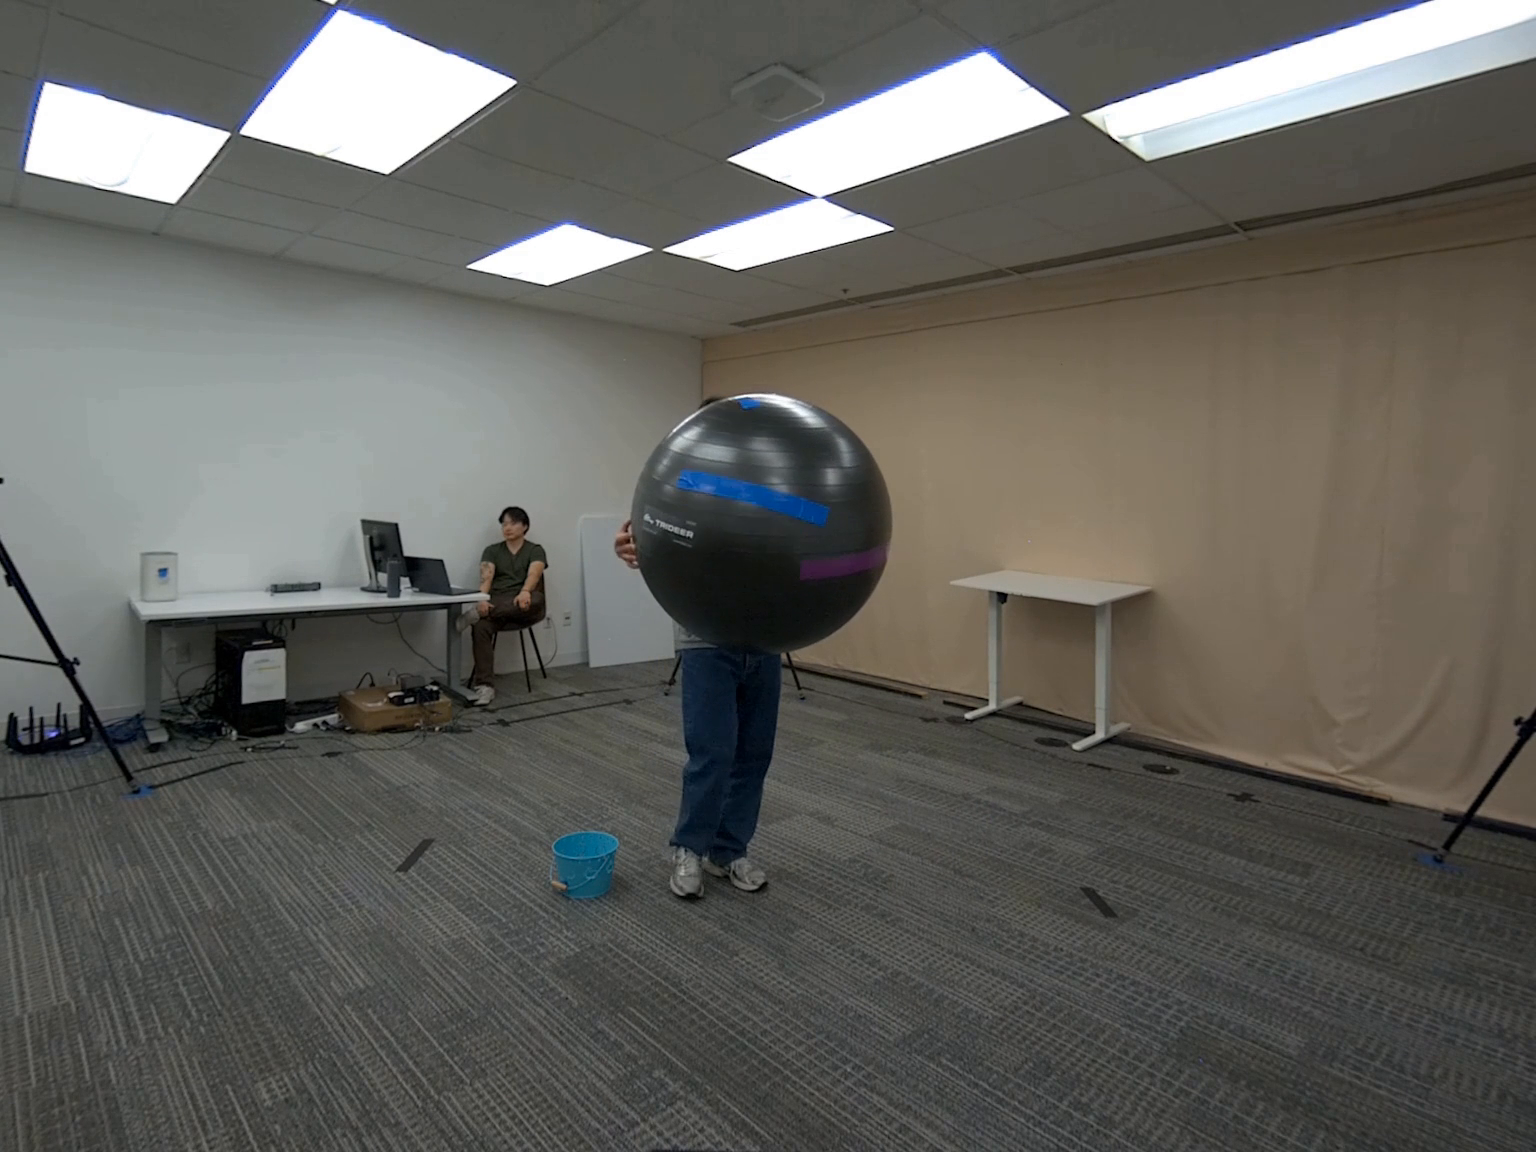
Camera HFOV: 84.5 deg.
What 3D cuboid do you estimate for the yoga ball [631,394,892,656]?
[{"bbox_3d":[-0.019,-0.142,2.461,0.757,0.756,0.761,1,4,-1],"label":"yoga ball"}]
